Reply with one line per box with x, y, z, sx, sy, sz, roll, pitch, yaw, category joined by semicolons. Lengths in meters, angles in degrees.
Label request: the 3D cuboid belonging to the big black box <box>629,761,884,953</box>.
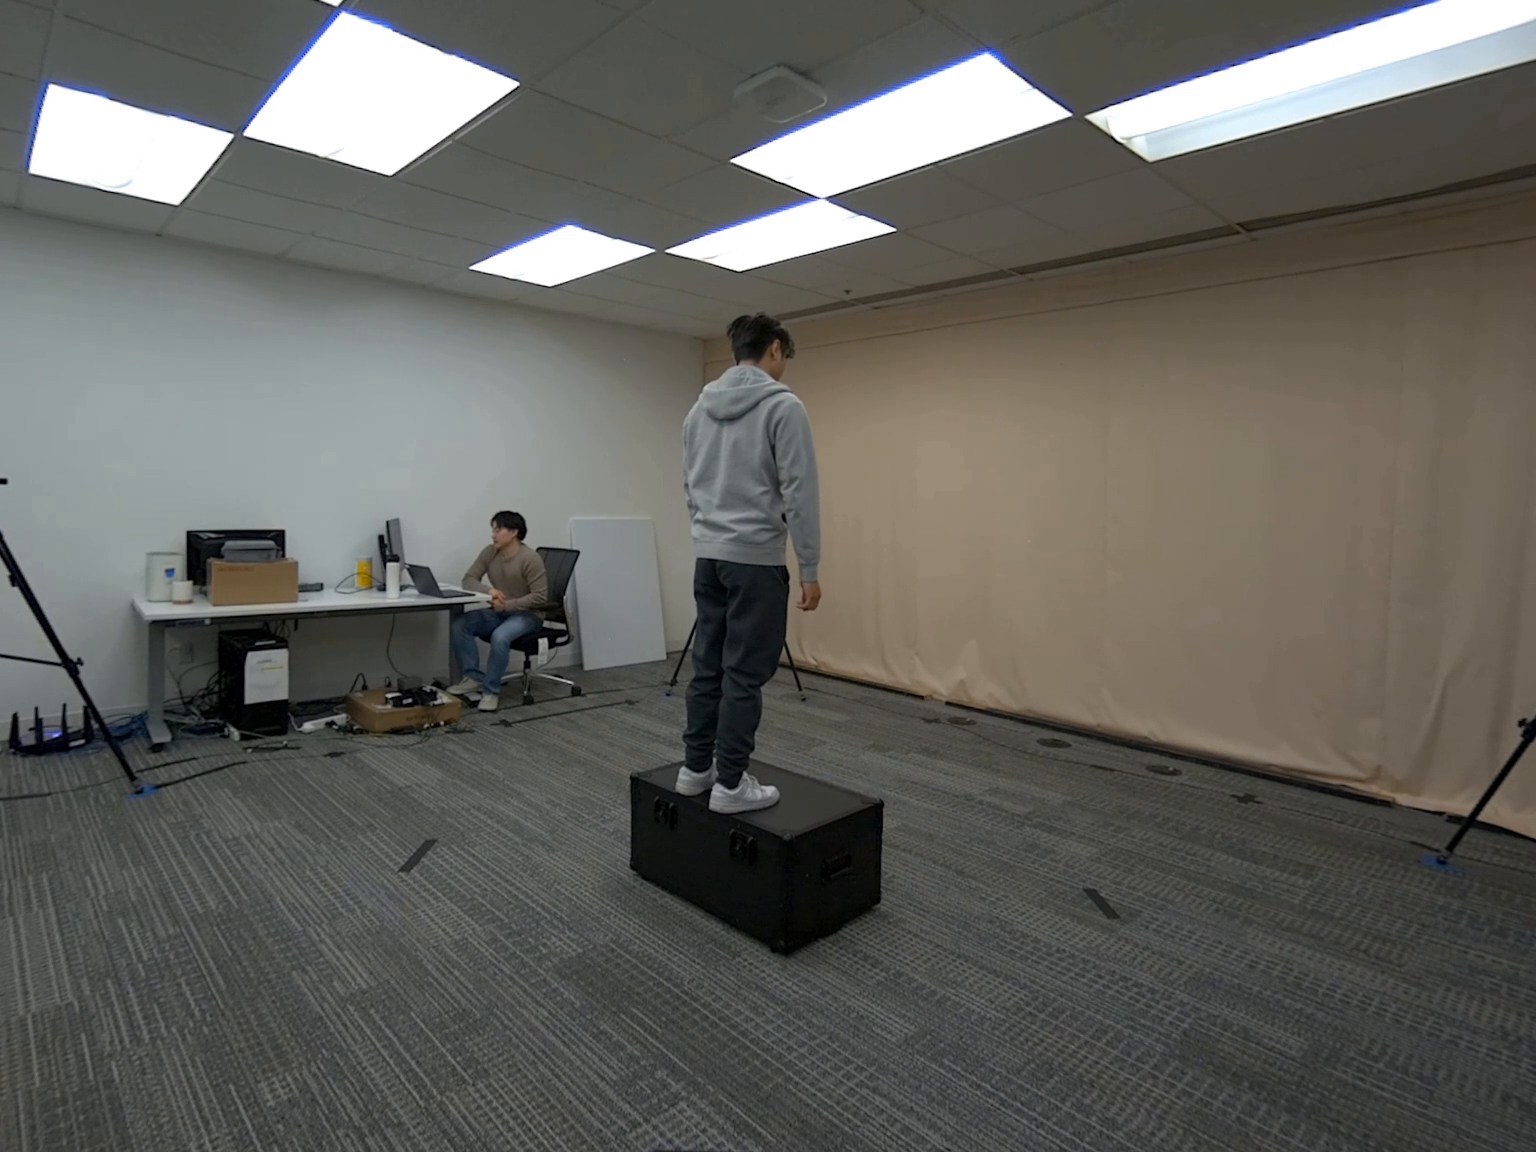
-0.087;0.928;2.997;0.884;0.395;0.509;7;7;44;big black box
